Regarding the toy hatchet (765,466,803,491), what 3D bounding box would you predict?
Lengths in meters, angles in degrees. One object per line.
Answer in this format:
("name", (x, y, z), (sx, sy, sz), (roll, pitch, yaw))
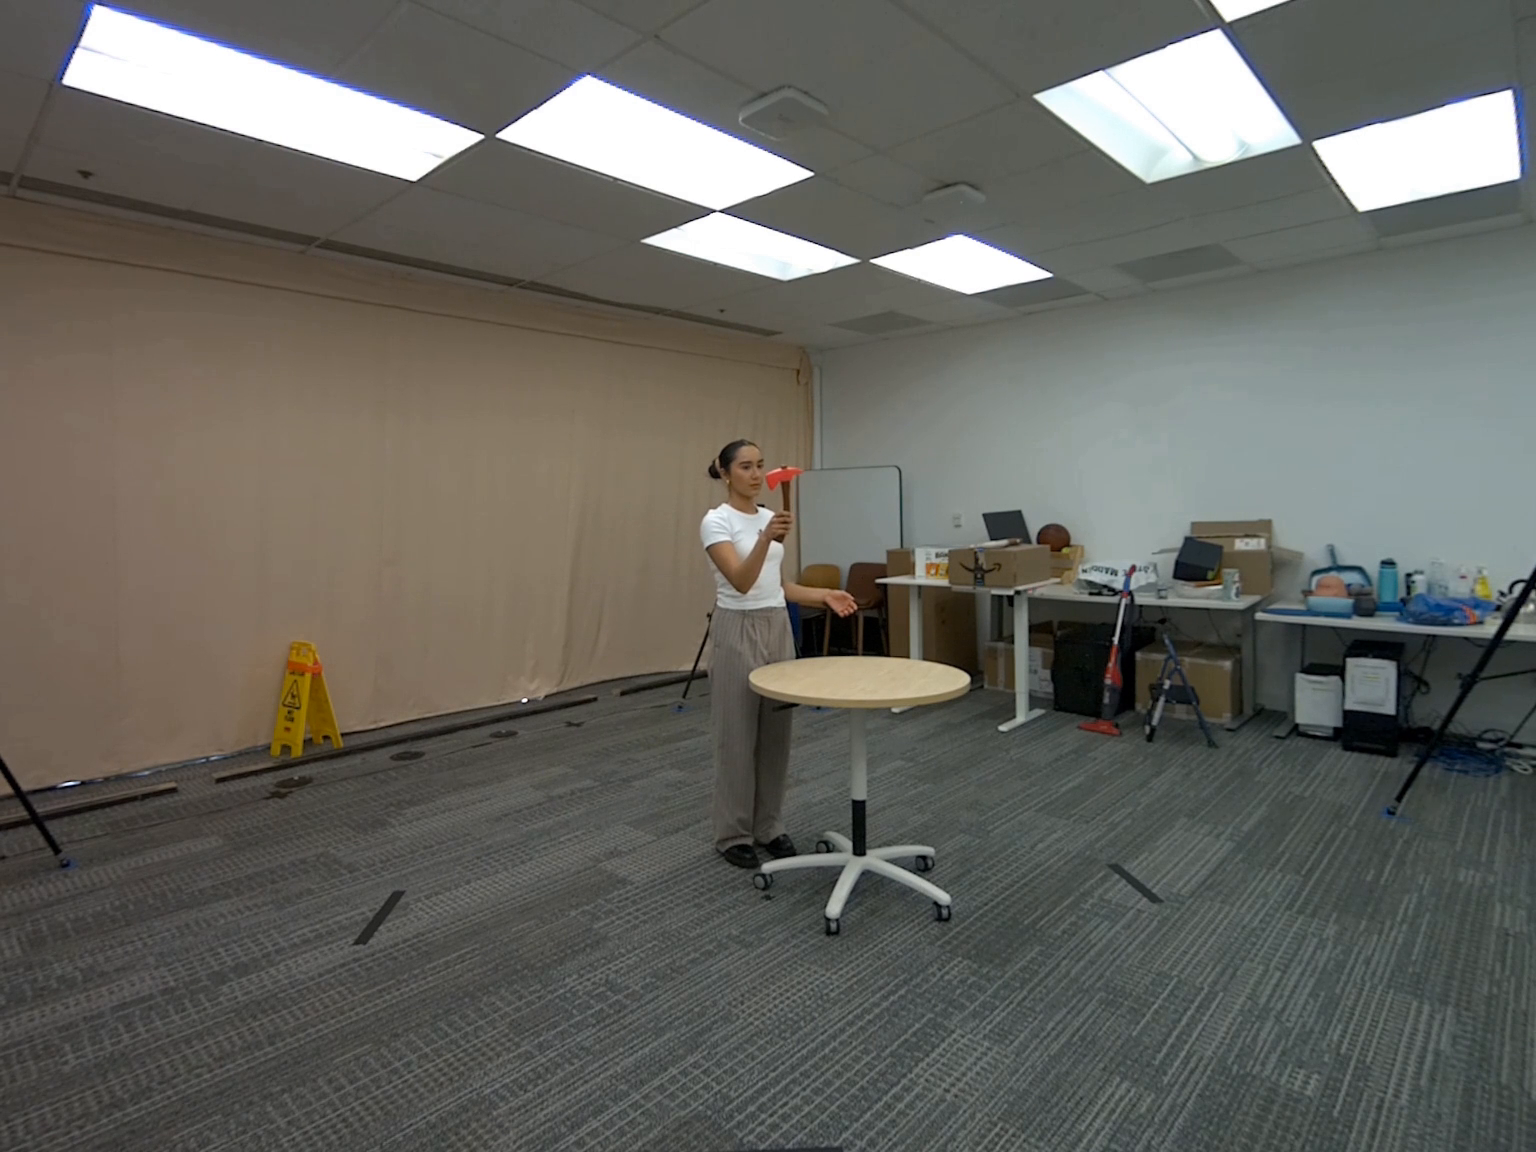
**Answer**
("toy hatchet", (0.037, -0.253, 2.894), (0.128, 0.268, 0.030), (8, 17, -21))
